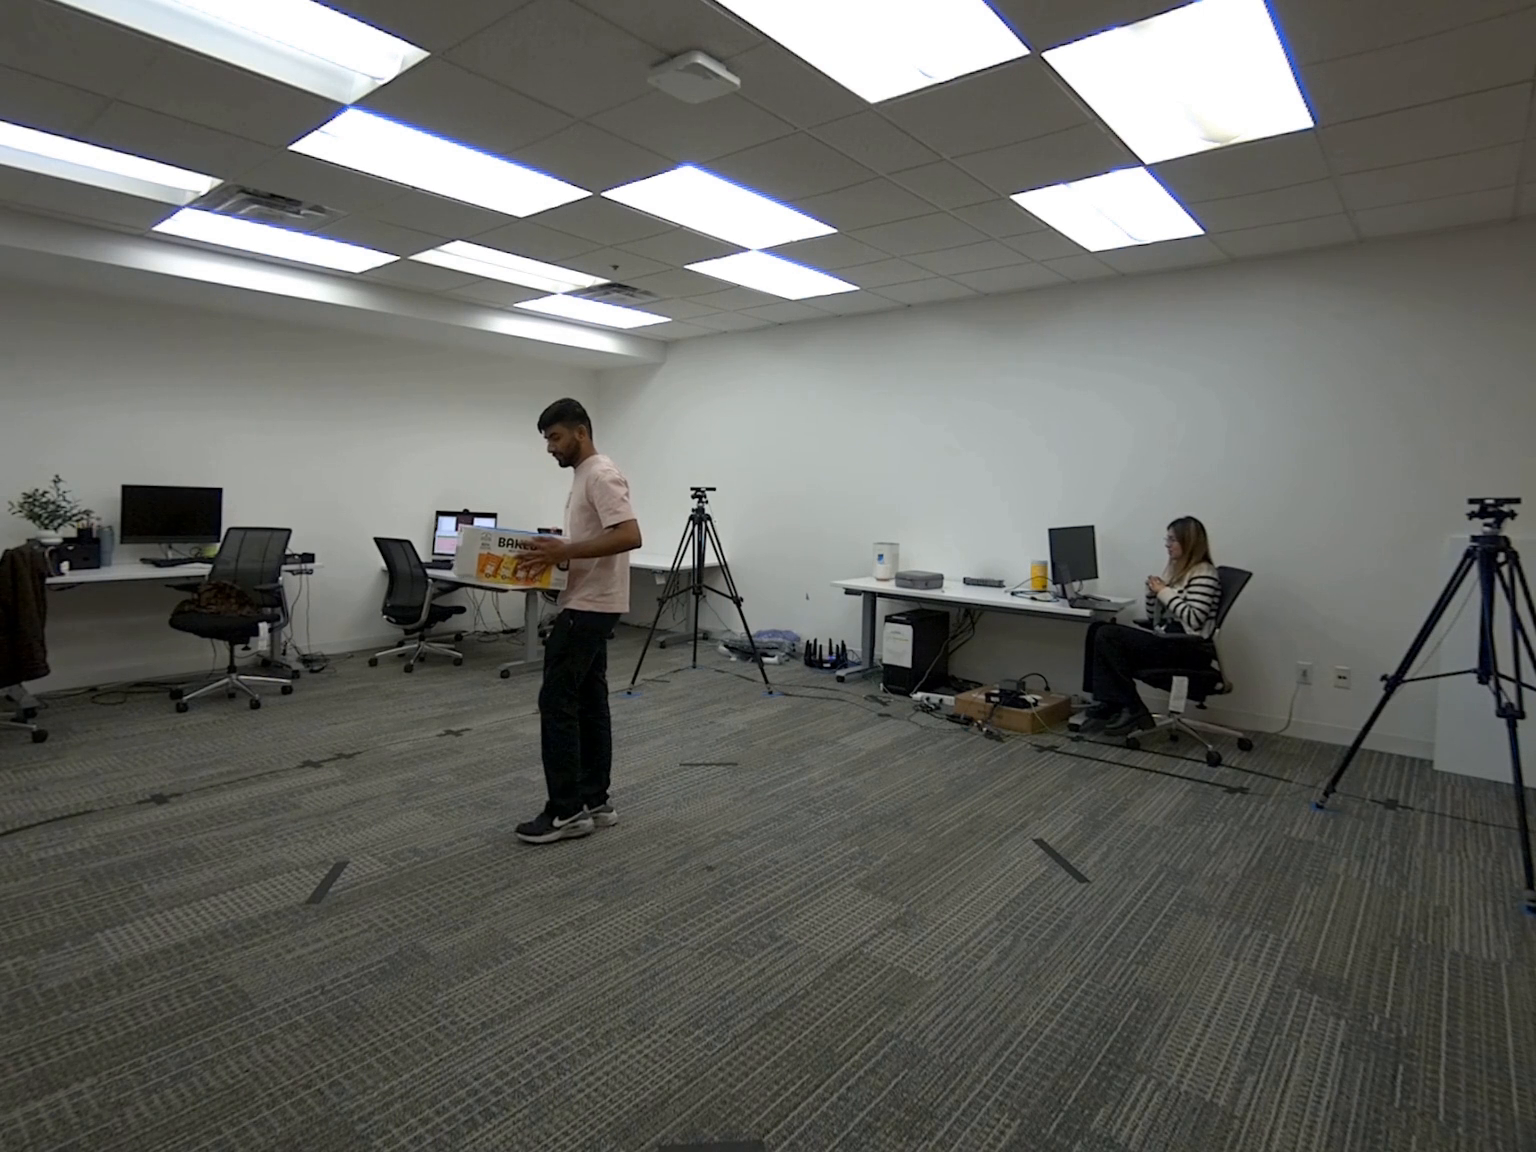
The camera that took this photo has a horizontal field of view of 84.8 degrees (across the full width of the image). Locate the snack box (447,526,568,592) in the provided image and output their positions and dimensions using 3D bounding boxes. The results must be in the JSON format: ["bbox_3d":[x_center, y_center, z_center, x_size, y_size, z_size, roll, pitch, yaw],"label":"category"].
[{"bbox_3d":[-1.017,-0.077,3.347,0.396,0.205,0.348,6,1,-20],"label":"snack box"}]
